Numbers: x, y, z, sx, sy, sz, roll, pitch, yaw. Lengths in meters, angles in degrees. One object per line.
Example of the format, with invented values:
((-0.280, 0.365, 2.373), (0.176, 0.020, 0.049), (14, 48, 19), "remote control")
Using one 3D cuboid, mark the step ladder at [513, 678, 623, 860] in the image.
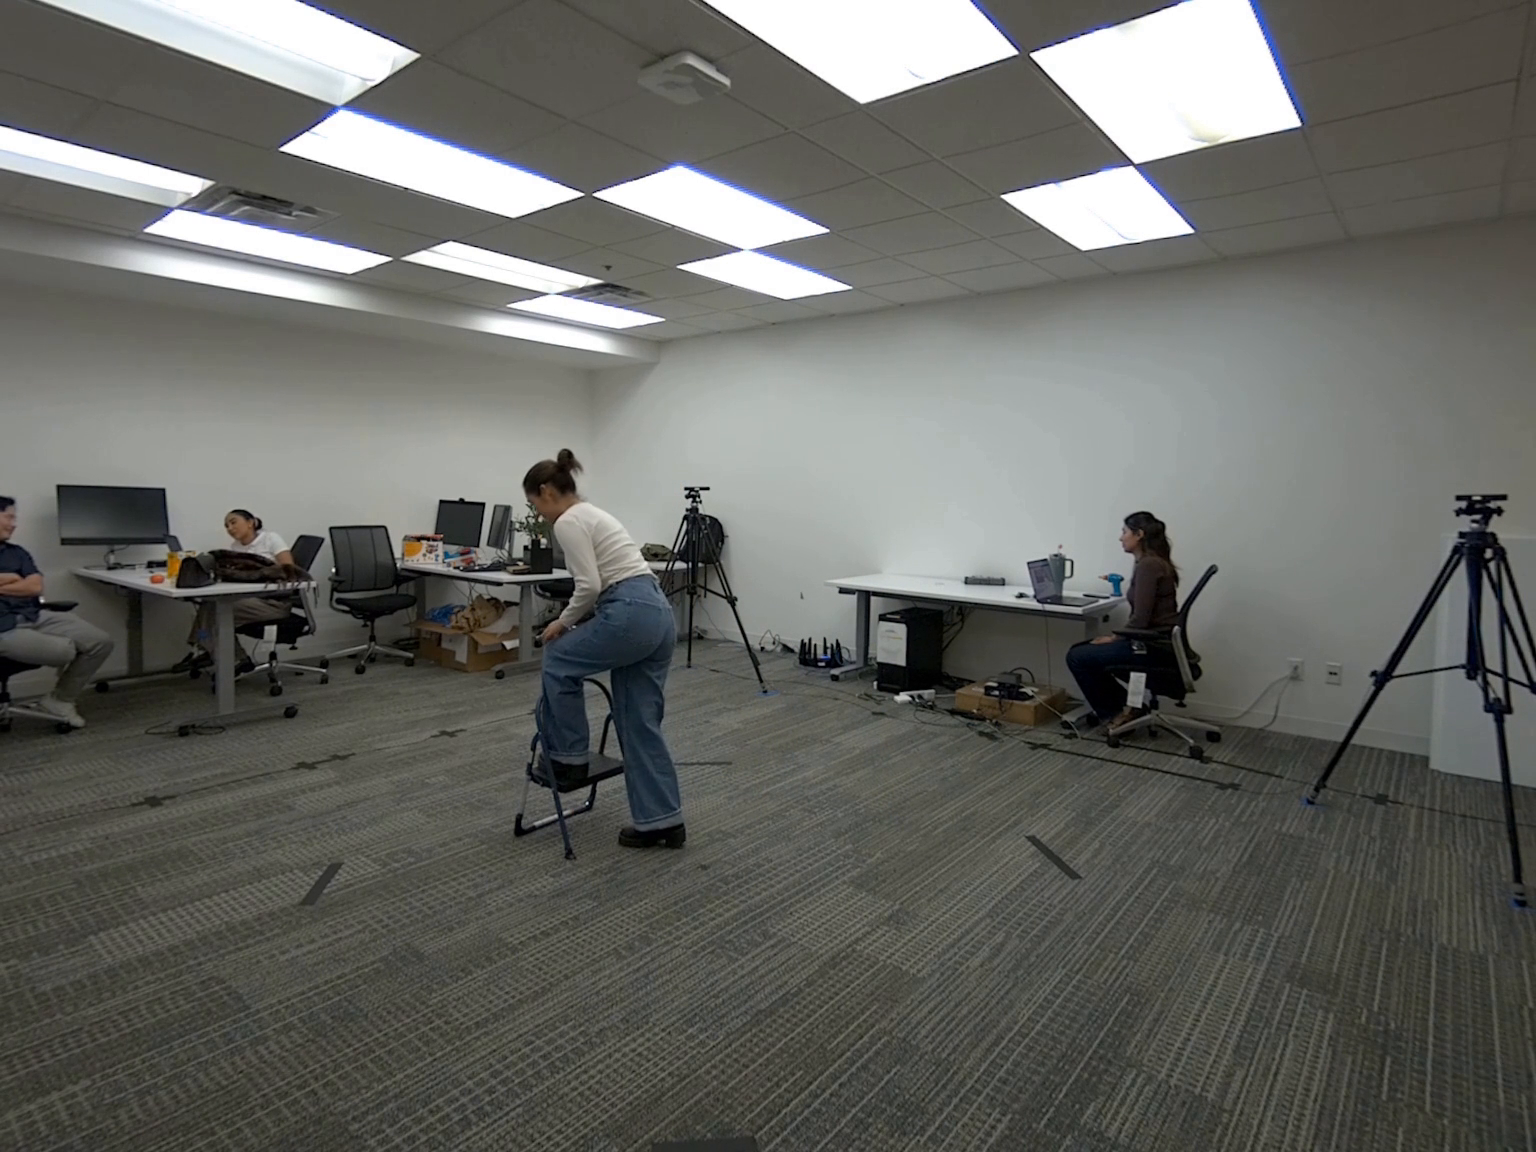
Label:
((-0.760, 0.727, 3.421), (0.360, 0.605, 0.418), (3, 4, 36), "step ladder")
